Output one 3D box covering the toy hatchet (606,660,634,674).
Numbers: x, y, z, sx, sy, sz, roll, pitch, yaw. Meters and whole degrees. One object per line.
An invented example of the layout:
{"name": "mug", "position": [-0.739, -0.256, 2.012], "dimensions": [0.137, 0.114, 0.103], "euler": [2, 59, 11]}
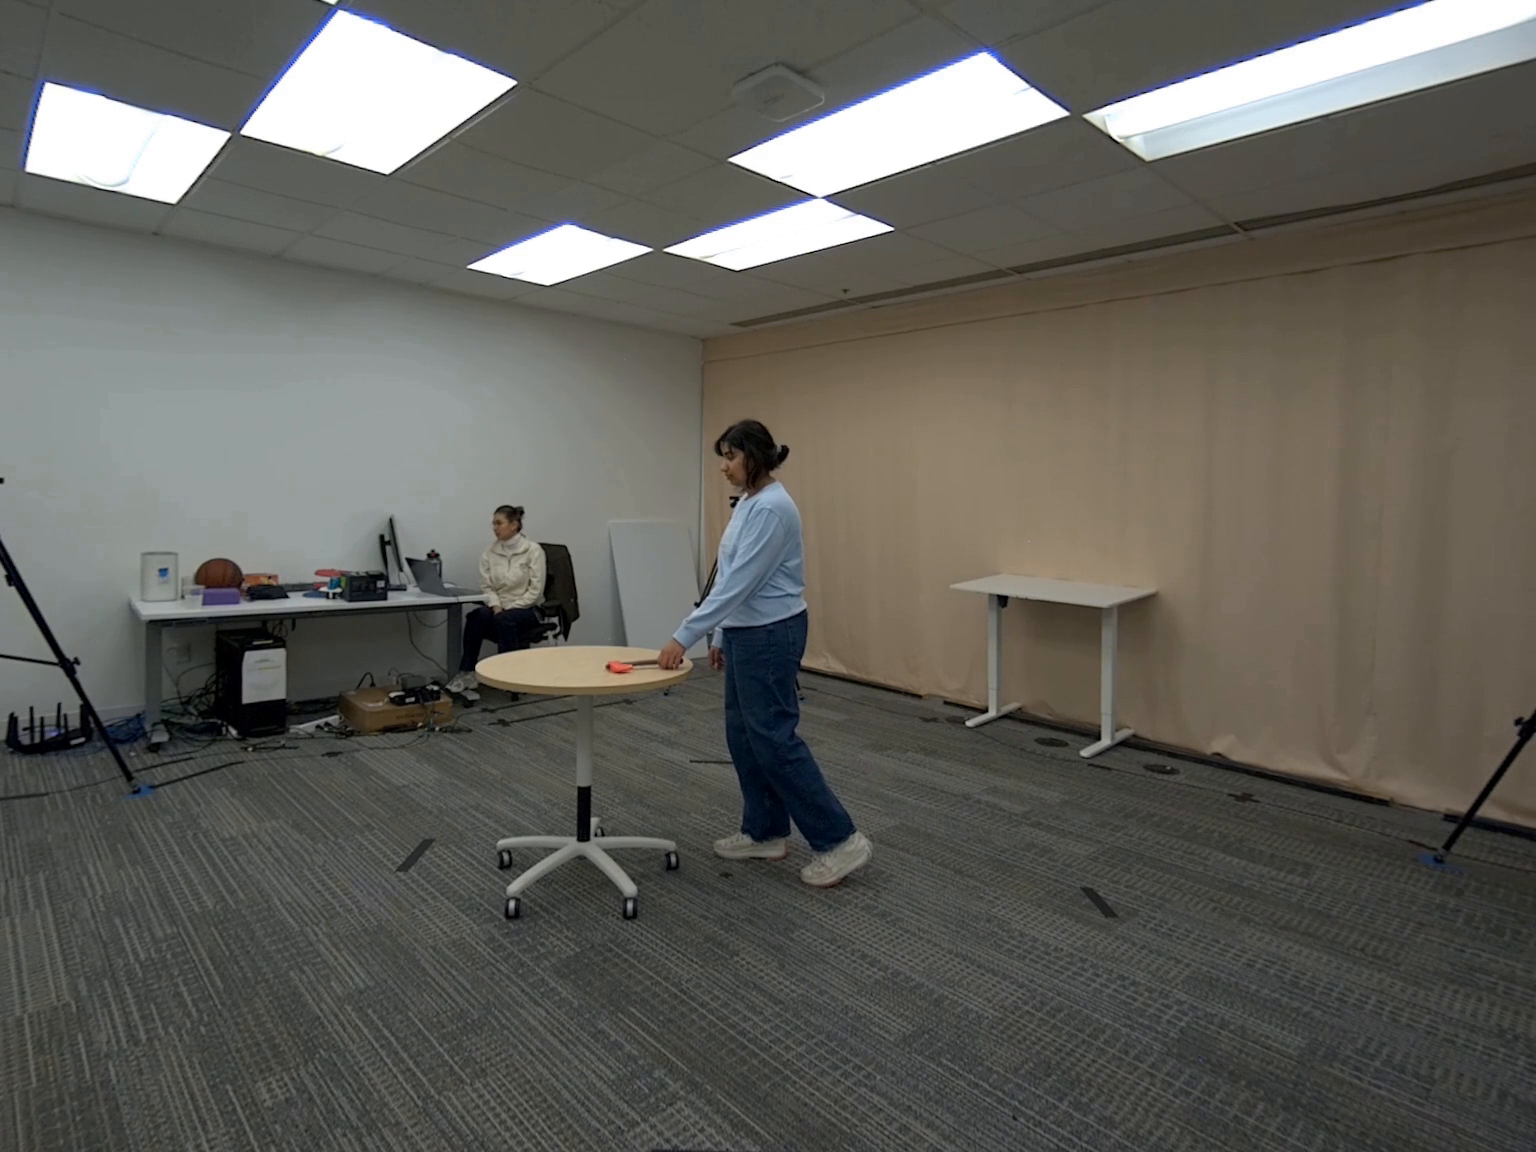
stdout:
{"name": "toy hatchet", "position": [-0.435, 0.316, 2.901], "dimensions": [0.269, 0.029, 0.132], "euler": [-1, 5, -3]}
